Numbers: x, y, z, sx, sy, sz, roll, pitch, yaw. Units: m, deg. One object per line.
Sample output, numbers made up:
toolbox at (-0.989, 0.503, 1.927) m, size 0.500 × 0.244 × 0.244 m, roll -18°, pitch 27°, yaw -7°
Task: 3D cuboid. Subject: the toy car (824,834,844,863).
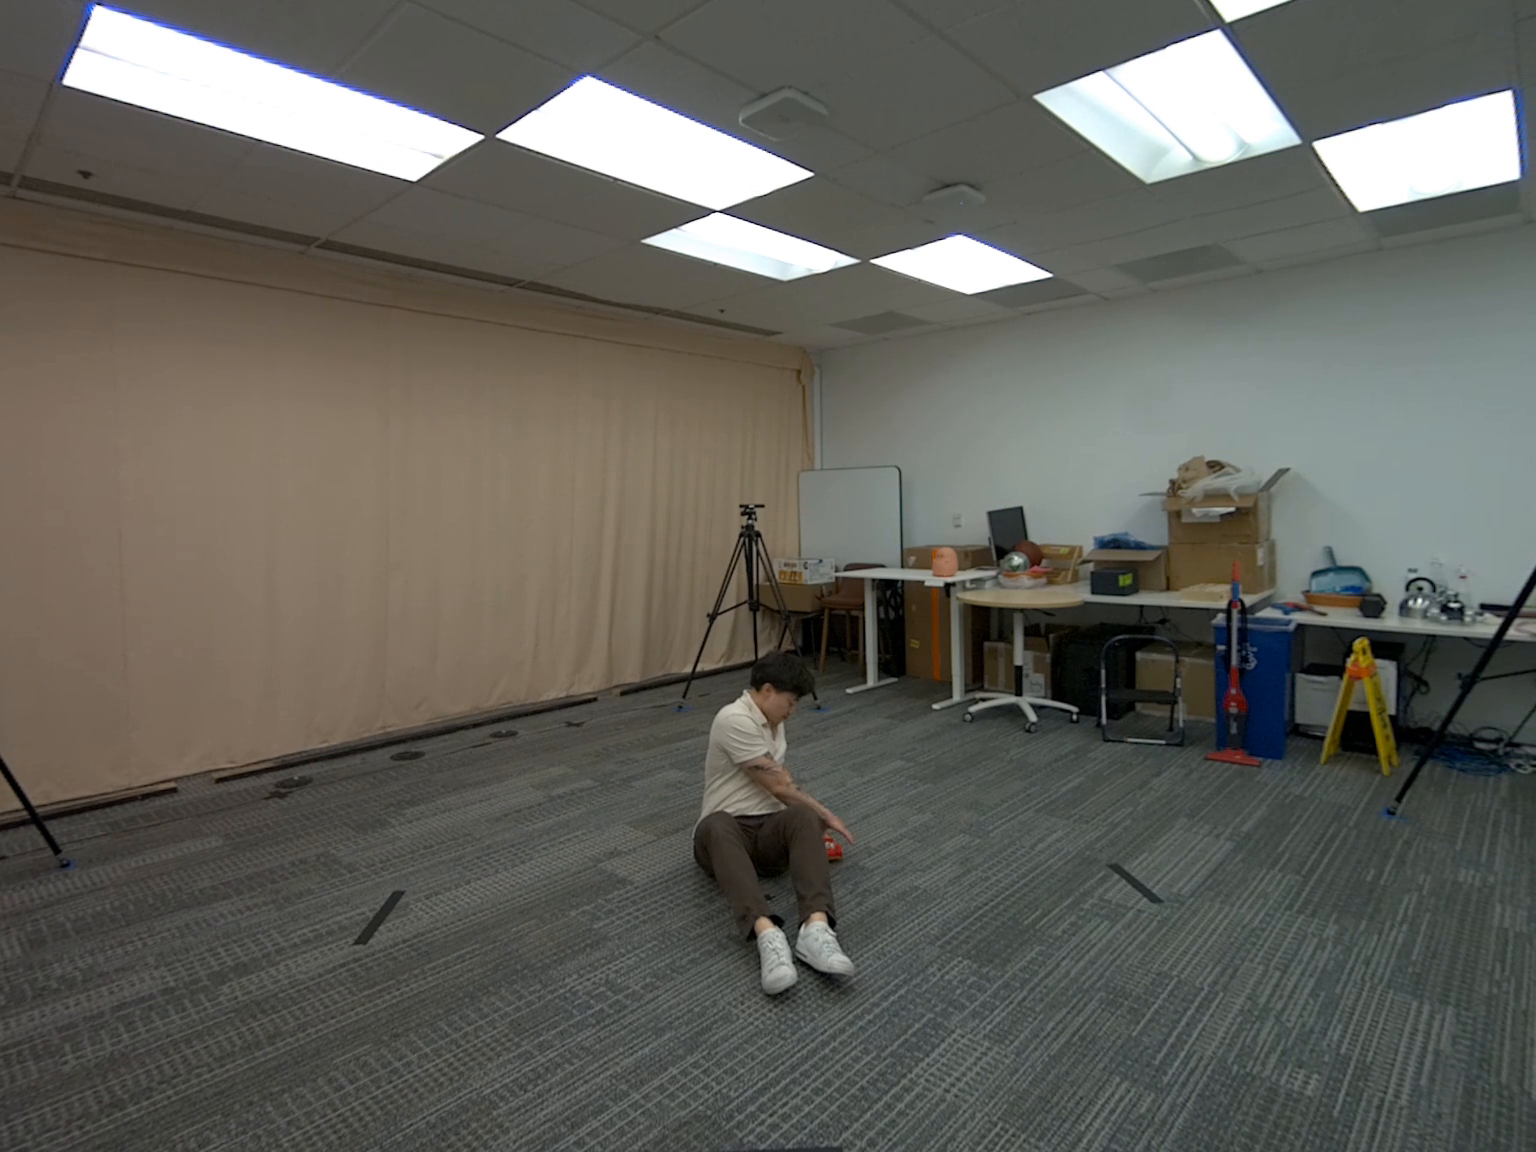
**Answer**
toy car at (0.212, 1.074, 3.331) m, size 0.128 × 0.083 × 0.257 m, roll 2°, pitch -6°, yaw -13°
